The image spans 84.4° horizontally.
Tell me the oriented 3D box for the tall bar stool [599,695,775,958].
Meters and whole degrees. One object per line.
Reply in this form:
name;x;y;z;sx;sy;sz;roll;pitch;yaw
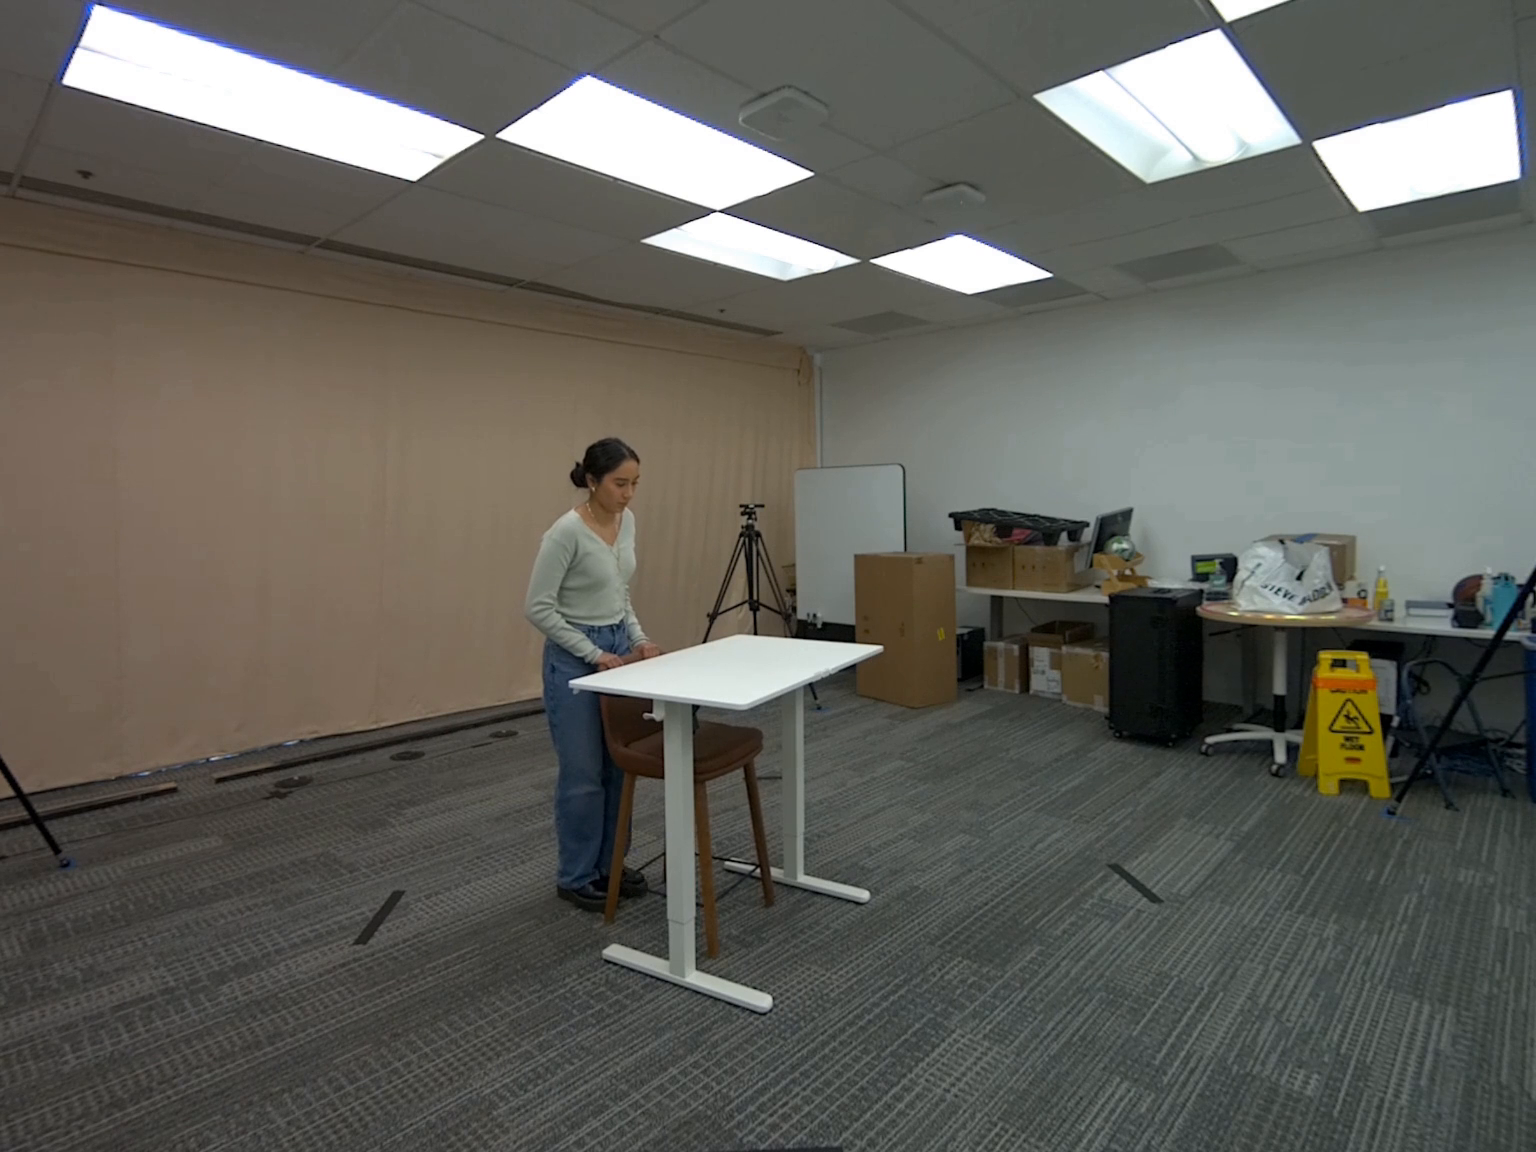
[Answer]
tall bar stool;-0.283;0.723;2.848;0.480;0.888;0.445;-2;2;29
